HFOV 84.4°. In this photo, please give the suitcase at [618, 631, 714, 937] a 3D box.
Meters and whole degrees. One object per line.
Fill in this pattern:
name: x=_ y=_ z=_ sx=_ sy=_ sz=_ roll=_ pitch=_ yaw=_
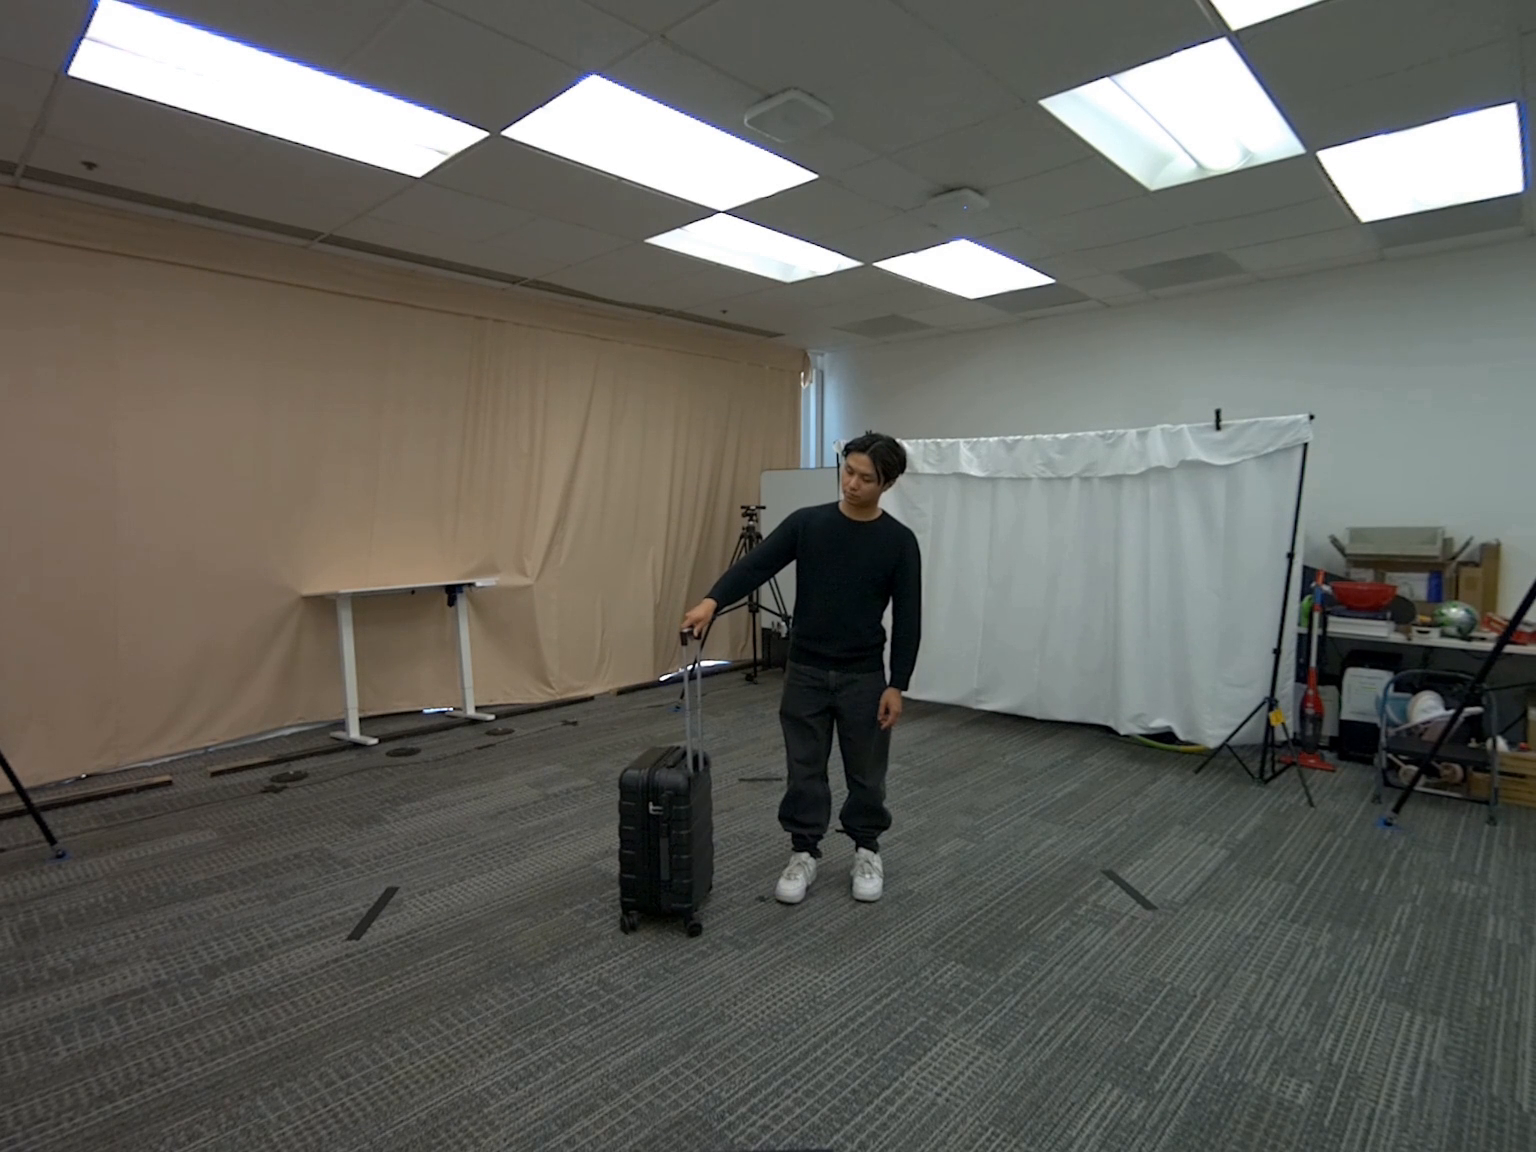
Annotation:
suitcase: x=-0.362 y=0.682 z=2.873 sx=0.259 sy=0.977 sz=0.381 roll=-2 pitch=2 yaw=8
